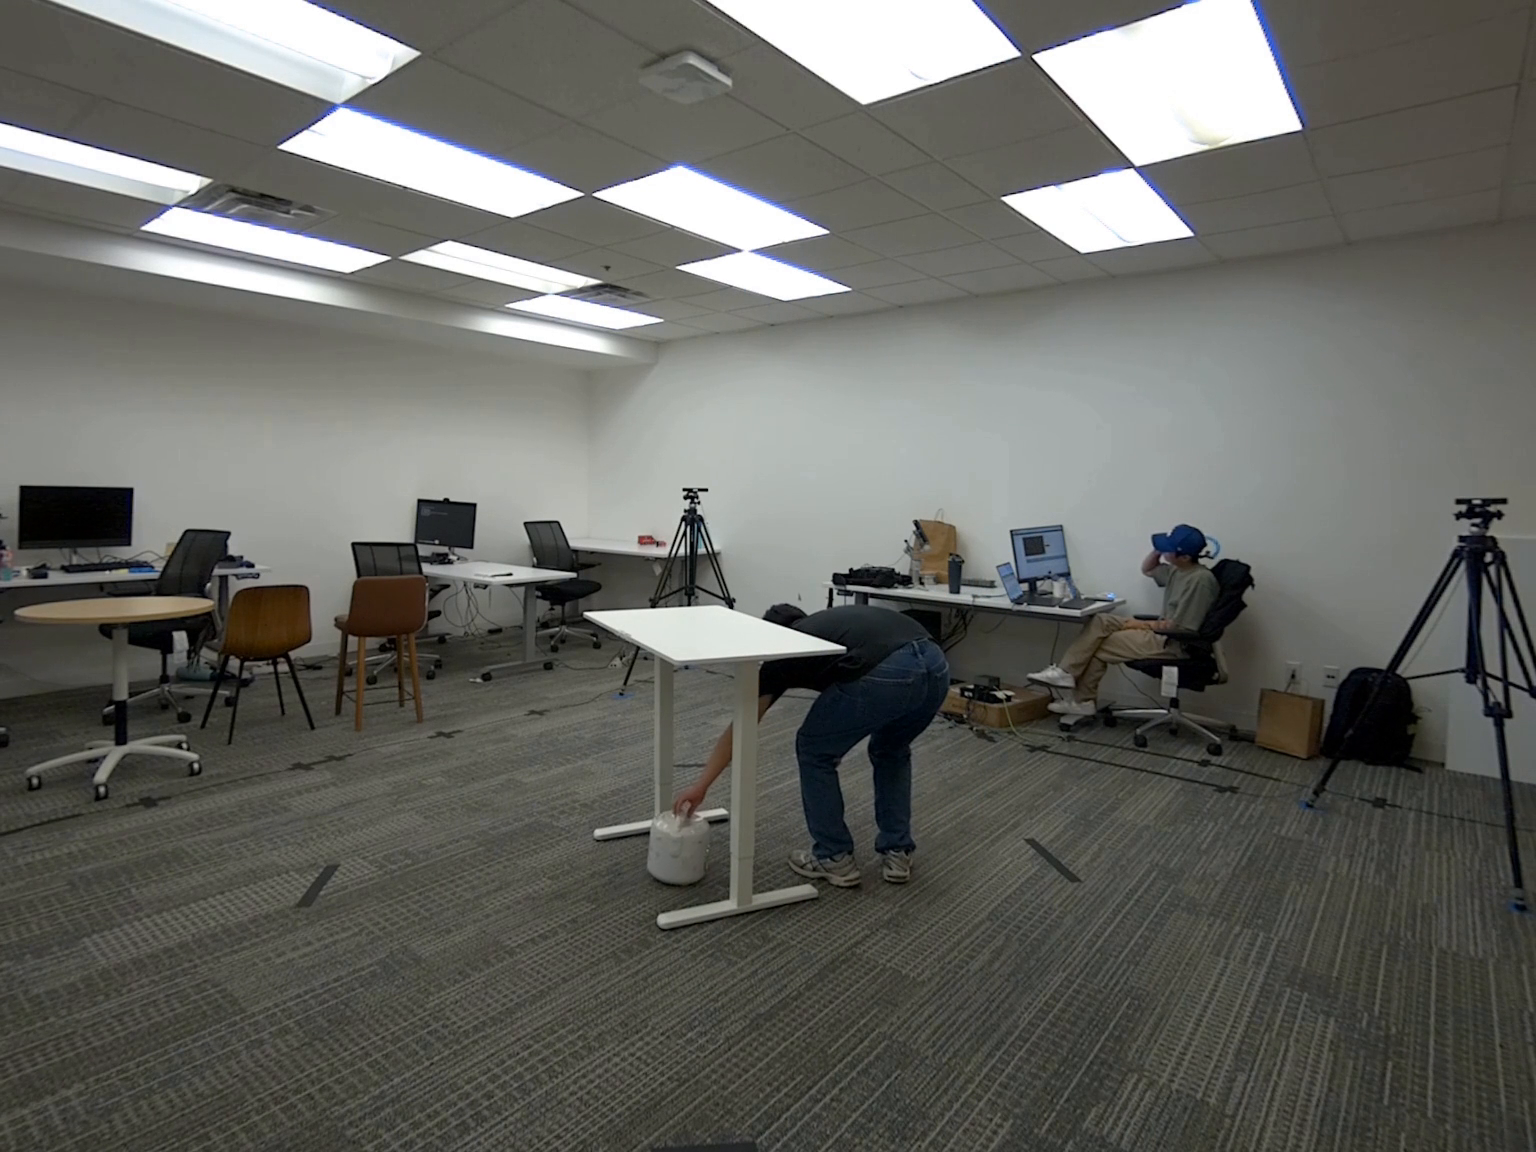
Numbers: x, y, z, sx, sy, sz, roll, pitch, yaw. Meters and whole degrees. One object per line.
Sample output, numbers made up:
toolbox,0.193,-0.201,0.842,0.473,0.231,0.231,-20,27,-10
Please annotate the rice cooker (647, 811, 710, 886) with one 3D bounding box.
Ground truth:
rice cooker,-0.324,0.952,3.046,0.219,0.232,0.220,6,4,5
